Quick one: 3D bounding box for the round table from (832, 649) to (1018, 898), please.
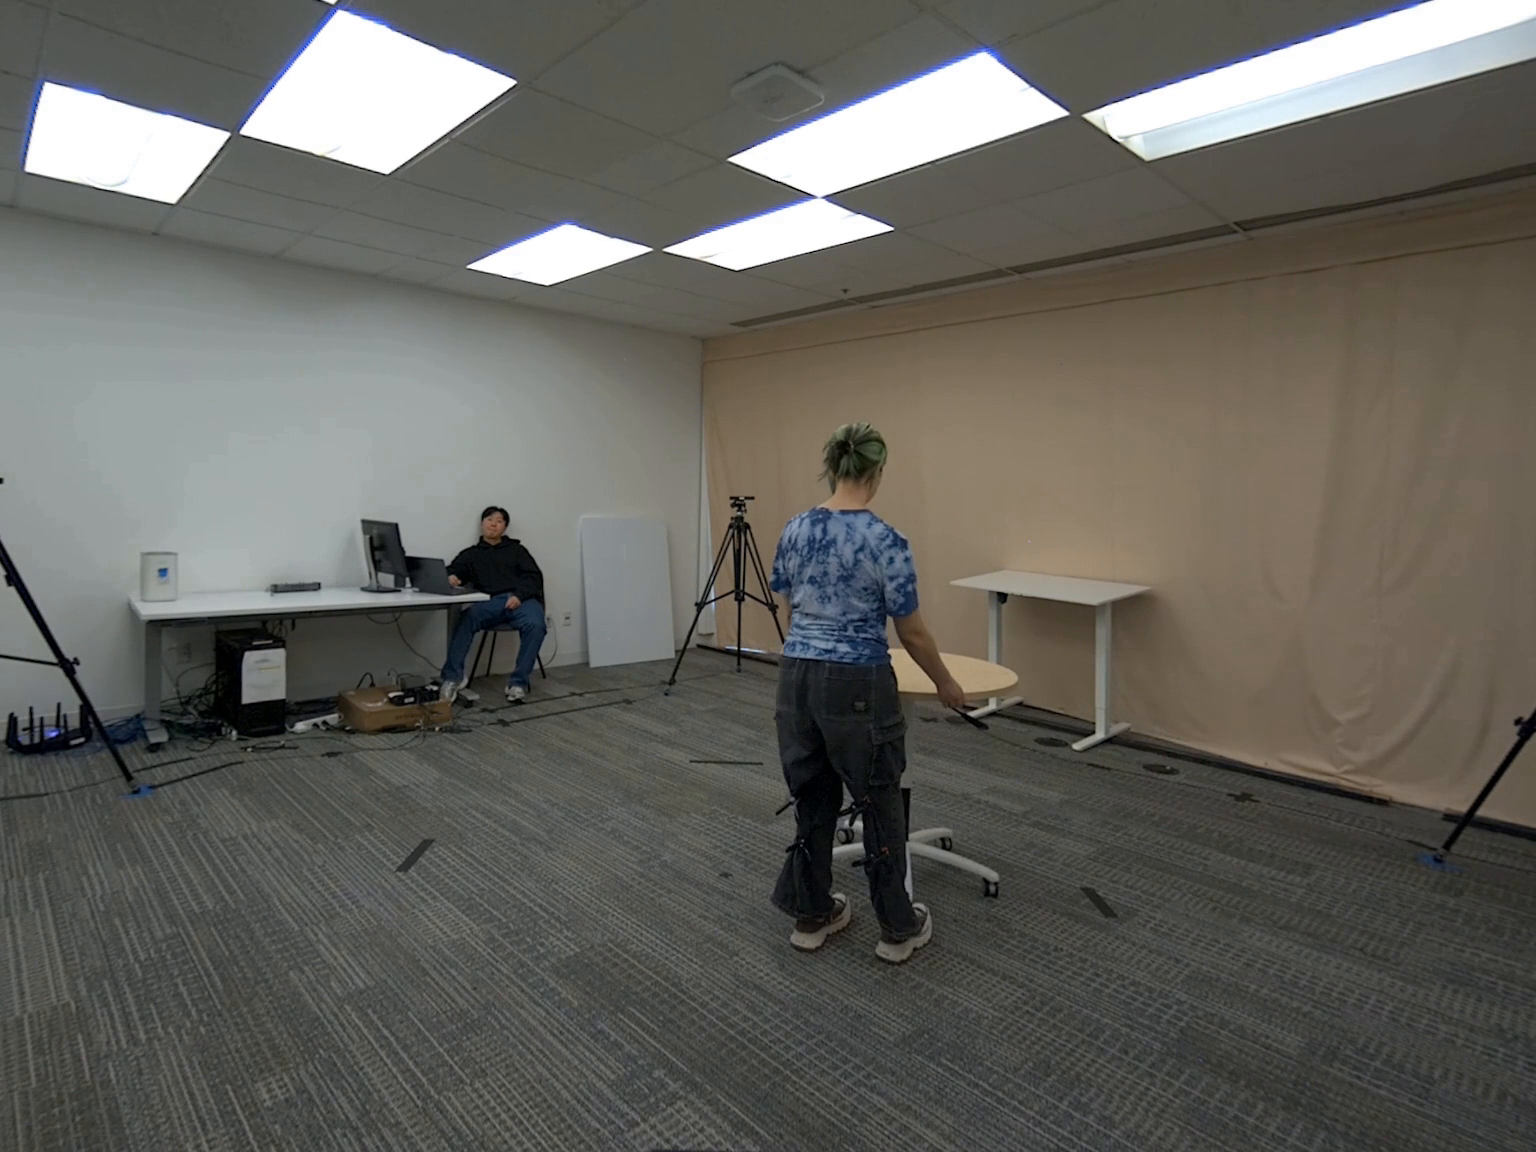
[{"bbox_3d":[0.492,0.729,3.116,0.763,0.791,0.767,2,5,-2],"label":"round table"}]
